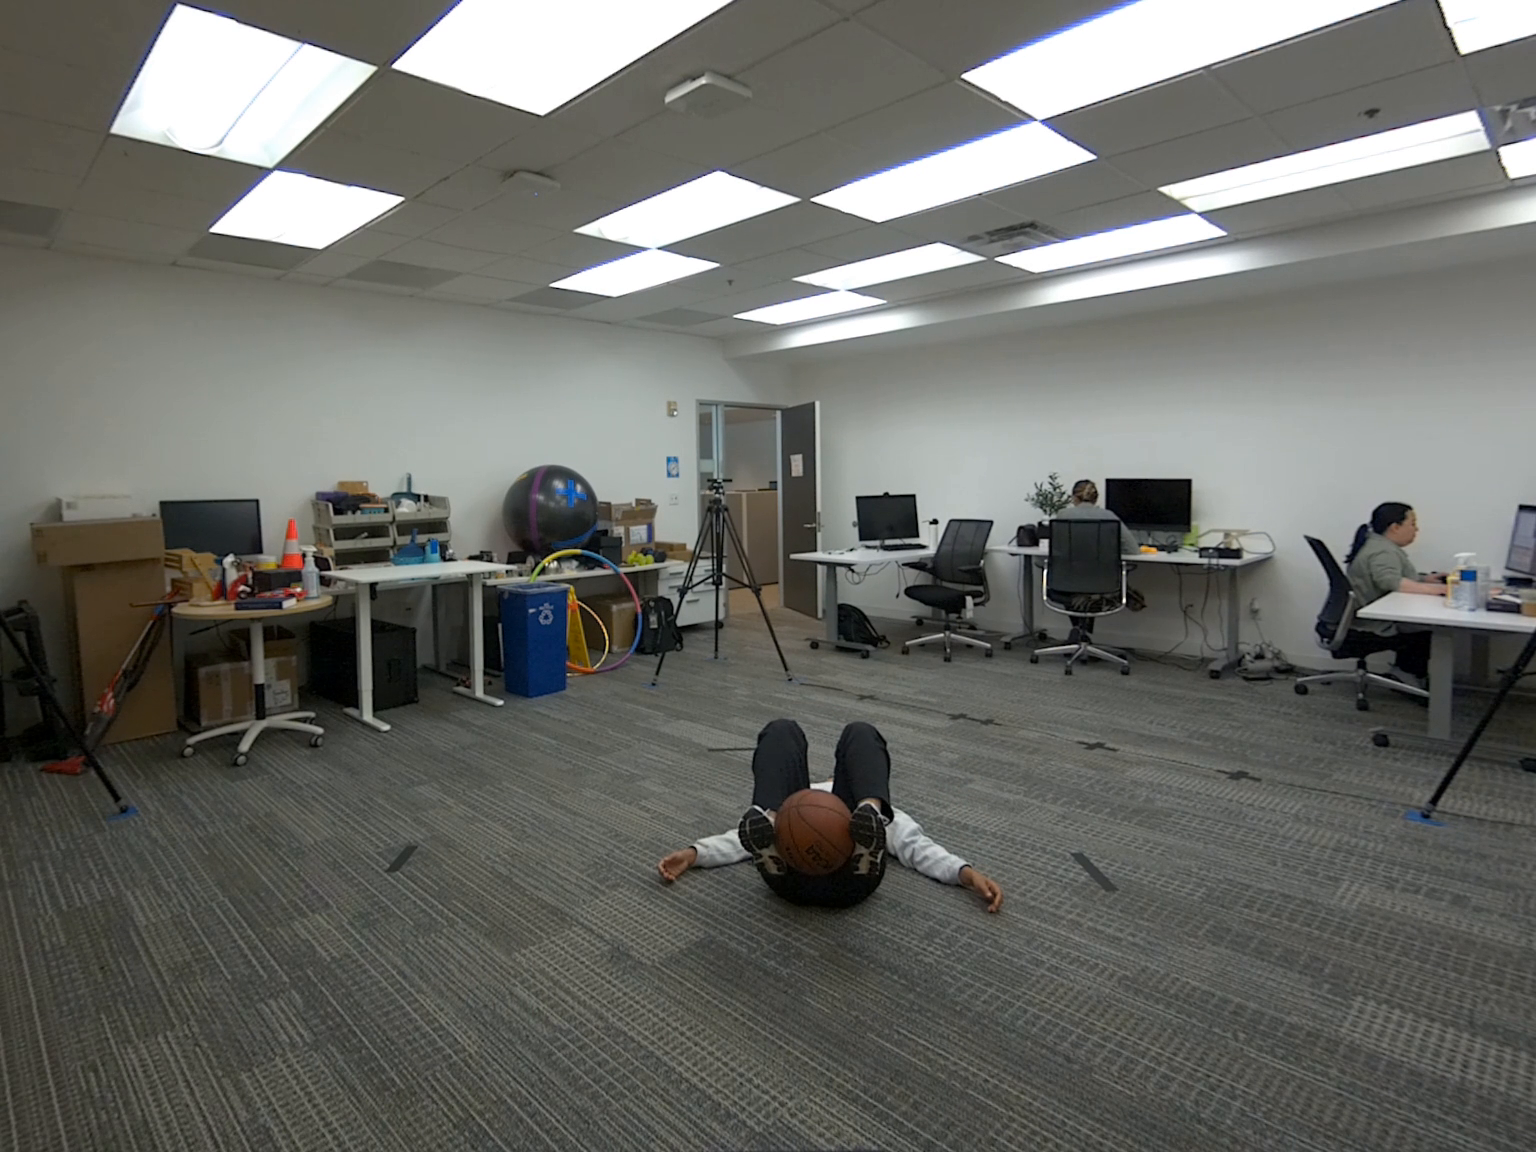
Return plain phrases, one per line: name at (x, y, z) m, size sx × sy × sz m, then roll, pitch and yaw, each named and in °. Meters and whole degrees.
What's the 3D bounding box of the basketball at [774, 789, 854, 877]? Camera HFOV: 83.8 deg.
basketball at (0.142, 0.745, 2.502) m, size 0.236 × 0.235 × 0.236 m, roll -4°, pitch 2°, yaw -2°
